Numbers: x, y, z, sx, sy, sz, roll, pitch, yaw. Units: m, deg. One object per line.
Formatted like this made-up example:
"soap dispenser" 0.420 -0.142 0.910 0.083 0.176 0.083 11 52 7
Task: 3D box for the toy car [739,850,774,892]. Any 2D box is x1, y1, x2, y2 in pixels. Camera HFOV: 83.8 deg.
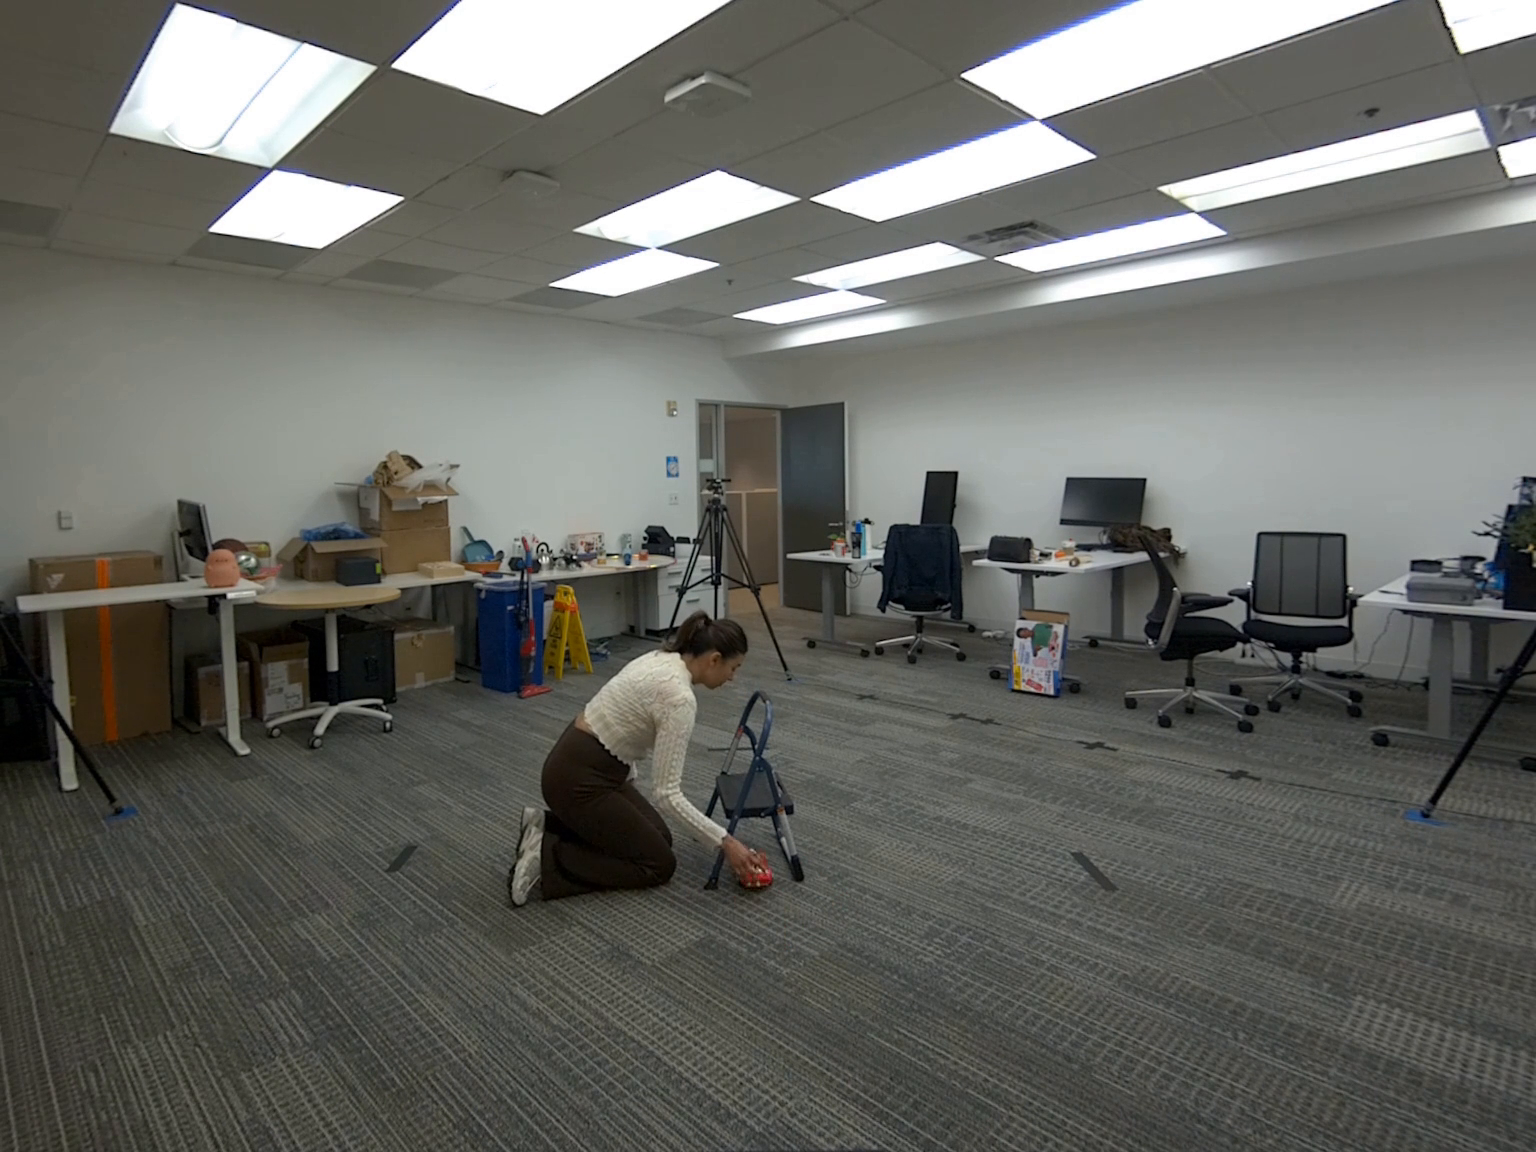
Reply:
"toy car" -0.055 1.029 2.981 0.129 0.083 0.256 -2 1 -9
